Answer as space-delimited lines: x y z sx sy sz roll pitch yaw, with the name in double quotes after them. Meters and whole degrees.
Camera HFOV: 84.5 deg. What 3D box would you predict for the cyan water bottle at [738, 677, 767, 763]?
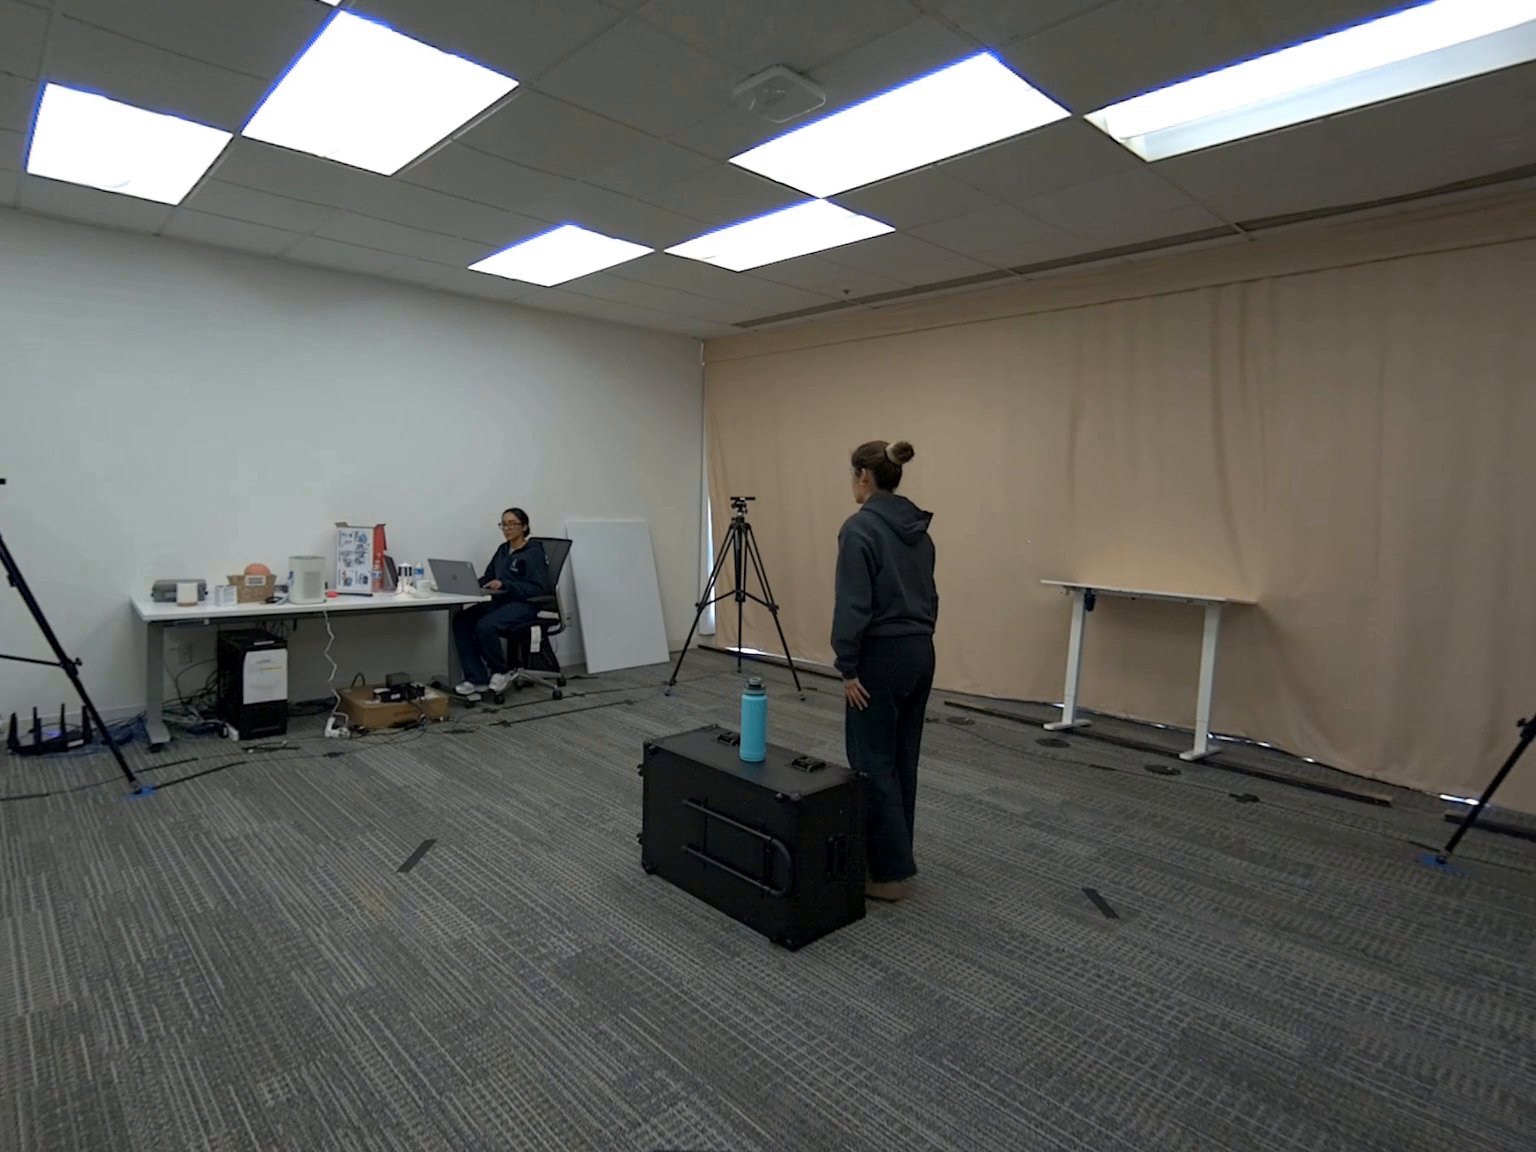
-0.051 0.496 2.958 0.092 0.283 0.092 4 2 -2 "cyan water bottle"
